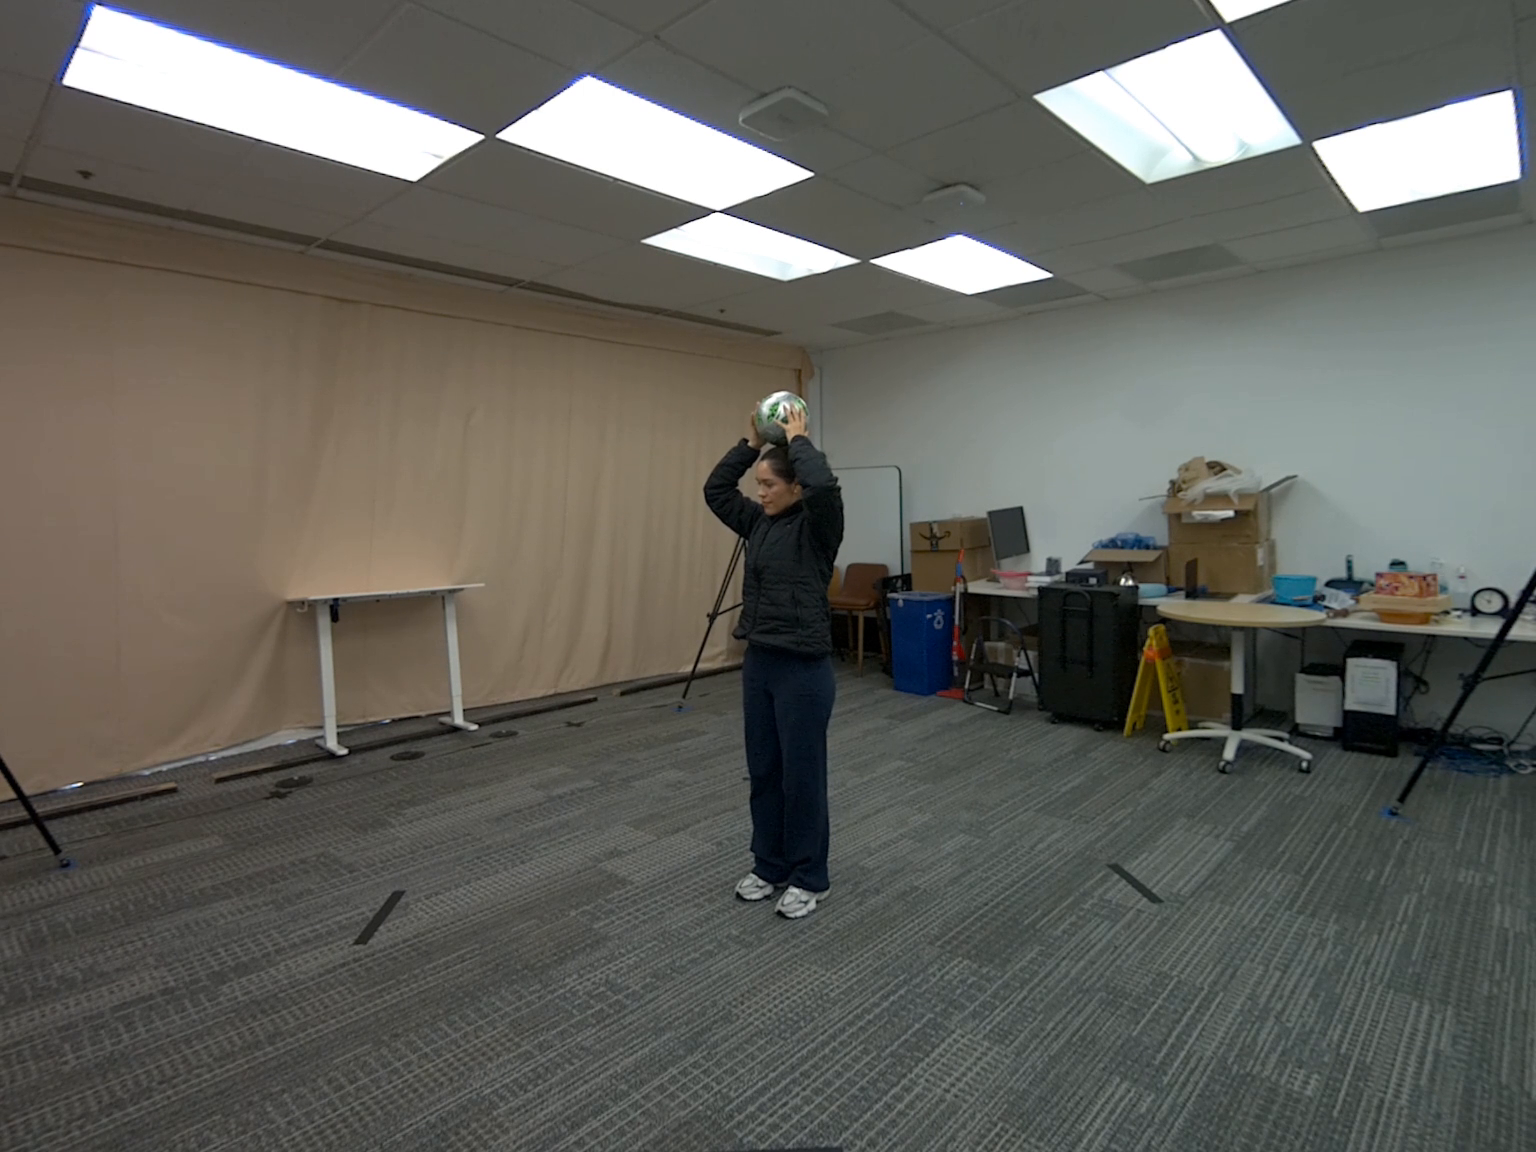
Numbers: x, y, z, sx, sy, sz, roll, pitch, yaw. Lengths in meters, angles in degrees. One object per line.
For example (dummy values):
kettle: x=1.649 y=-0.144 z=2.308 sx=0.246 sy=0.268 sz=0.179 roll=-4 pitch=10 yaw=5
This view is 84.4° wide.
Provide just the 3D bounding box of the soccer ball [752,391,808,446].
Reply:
soccer ball: x=0.051 y=-0.540 z=2.908 sx=0.187 sy=0.187 sz=0.188 roll=-1 pitch=4 yaw=-2
